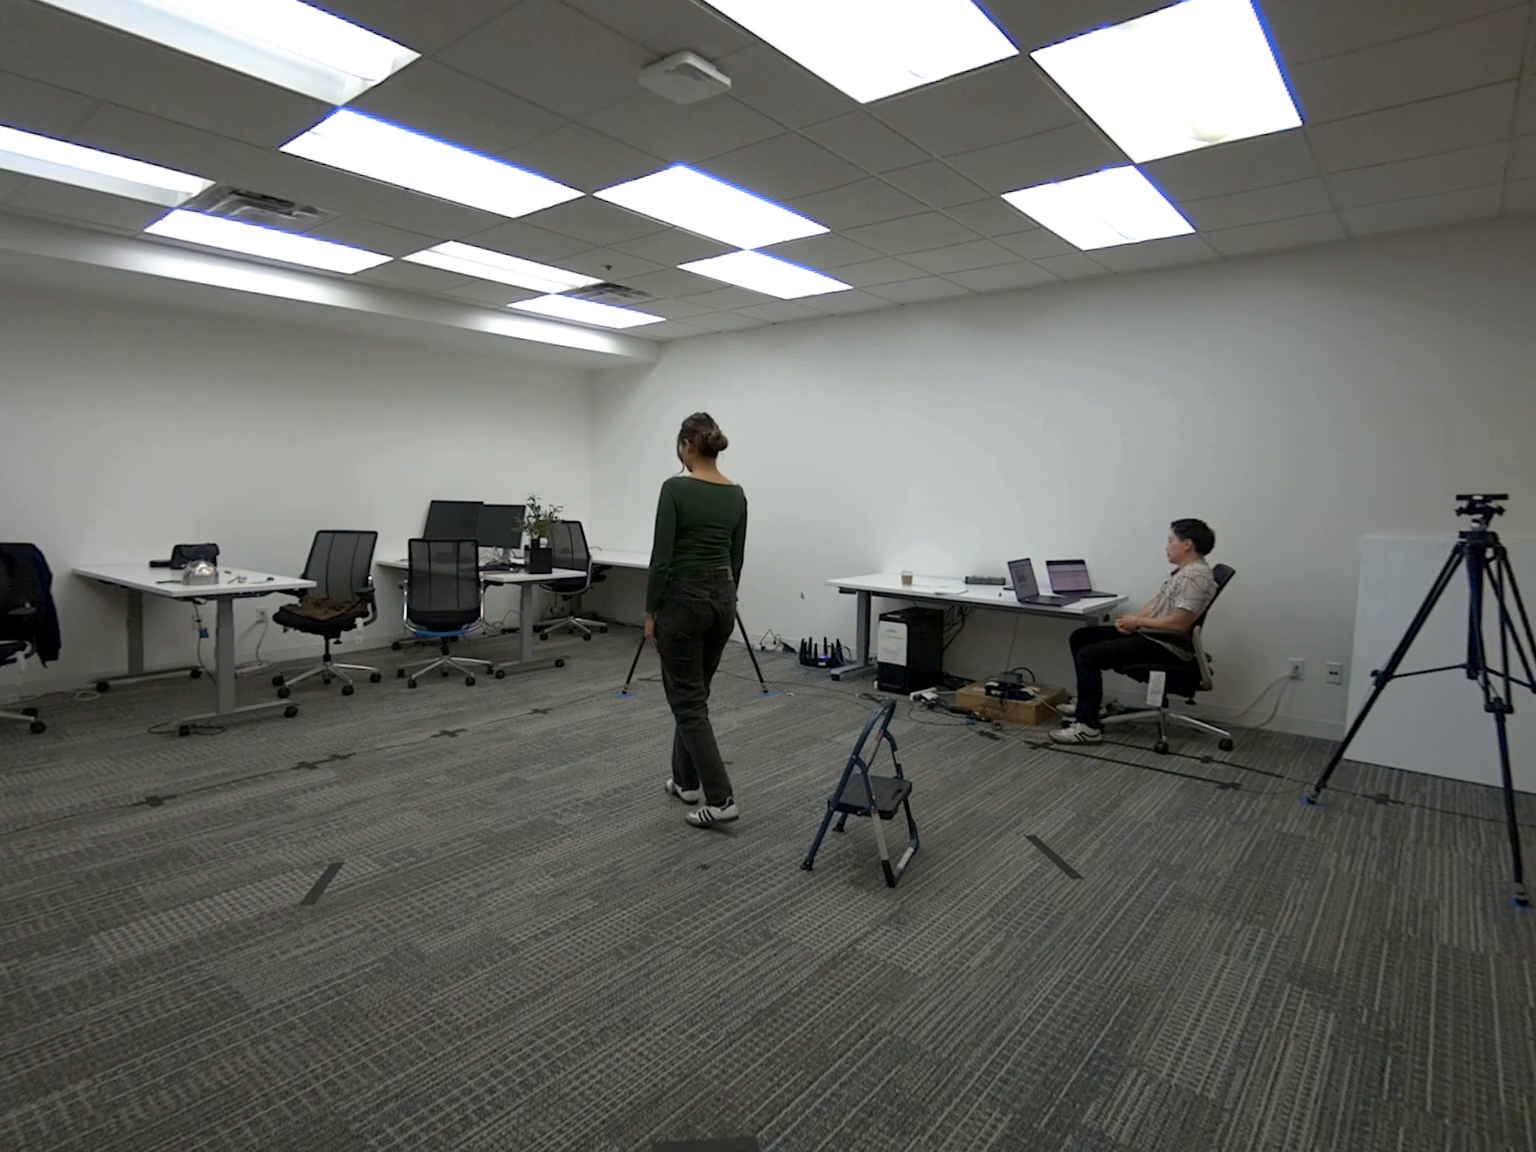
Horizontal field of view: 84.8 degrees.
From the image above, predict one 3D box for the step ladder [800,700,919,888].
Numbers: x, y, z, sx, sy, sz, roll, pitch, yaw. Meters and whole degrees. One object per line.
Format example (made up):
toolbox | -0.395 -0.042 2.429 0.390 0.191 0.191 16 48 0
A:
step ladder | 0.355 0.760 3.215 0.358 0.604 0.422 2 4 23
